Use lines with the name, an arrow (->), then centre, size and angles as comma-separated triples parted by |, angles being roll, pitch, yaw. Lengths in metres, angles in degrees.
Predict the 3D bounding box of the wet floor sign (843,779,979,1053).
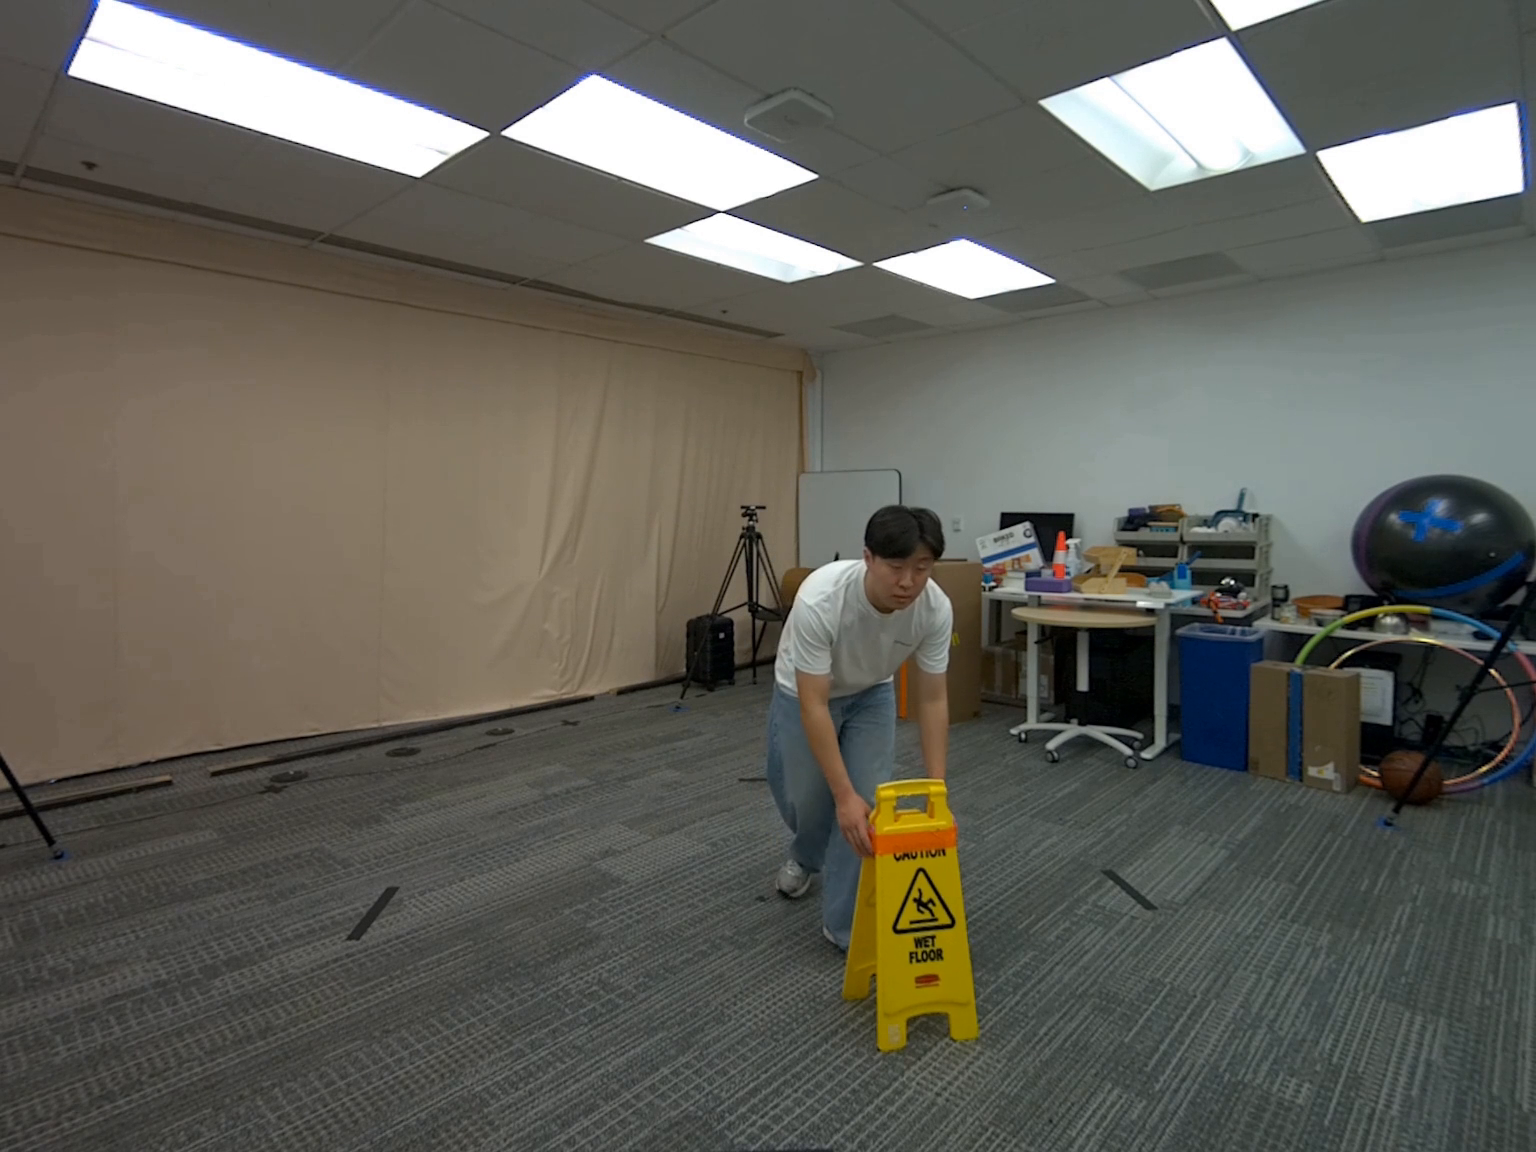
wet floor sign -> 0.371, 0.882, 2.272 | 0.278, 0.644, 0.295 | -4, 4, -16
